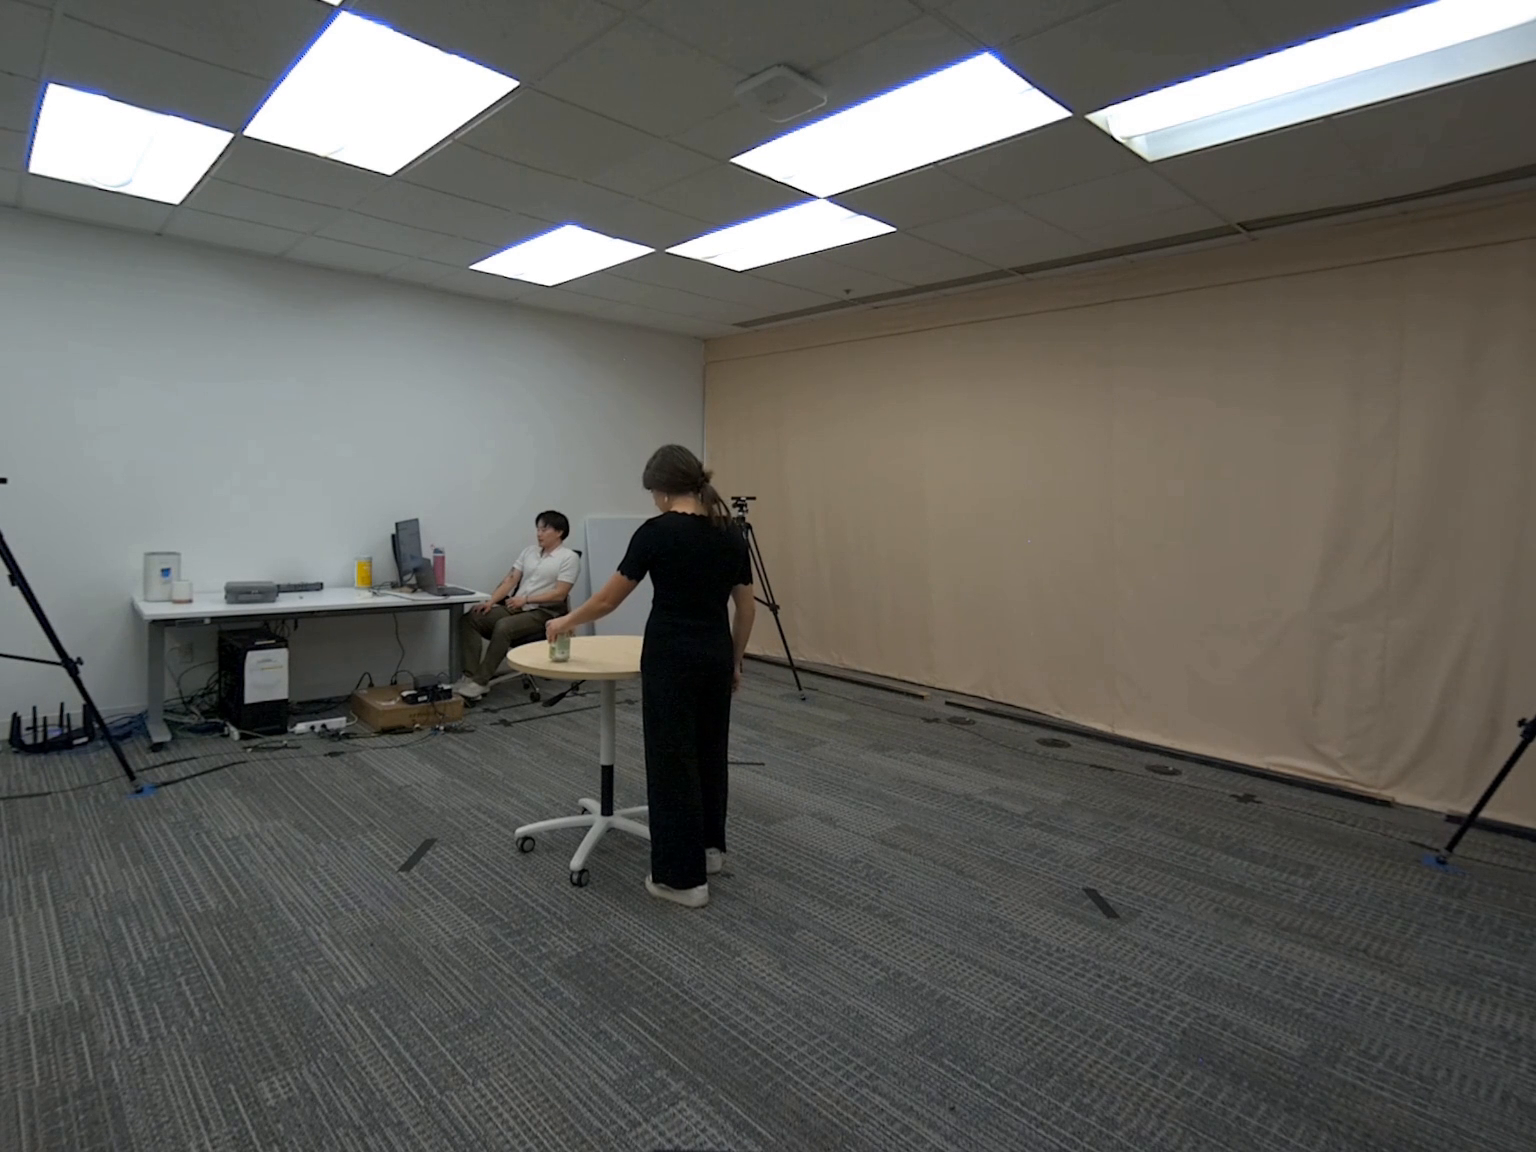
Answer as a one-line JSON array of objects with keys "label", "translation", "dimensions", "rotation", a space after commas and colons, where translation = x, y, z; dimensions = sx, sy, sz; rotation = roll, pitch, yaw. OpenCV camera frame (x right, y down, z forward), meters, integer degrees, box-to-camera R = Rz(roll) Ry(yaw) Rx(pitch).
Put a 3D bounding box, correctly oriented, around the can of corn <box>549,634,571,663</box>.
[{"label": "can of corn", "translation": [-0.756, 0.244, 3.073], "dimensions": [0.074, 0.111, 0.074], "rotation": [3, 2, -2]}]
